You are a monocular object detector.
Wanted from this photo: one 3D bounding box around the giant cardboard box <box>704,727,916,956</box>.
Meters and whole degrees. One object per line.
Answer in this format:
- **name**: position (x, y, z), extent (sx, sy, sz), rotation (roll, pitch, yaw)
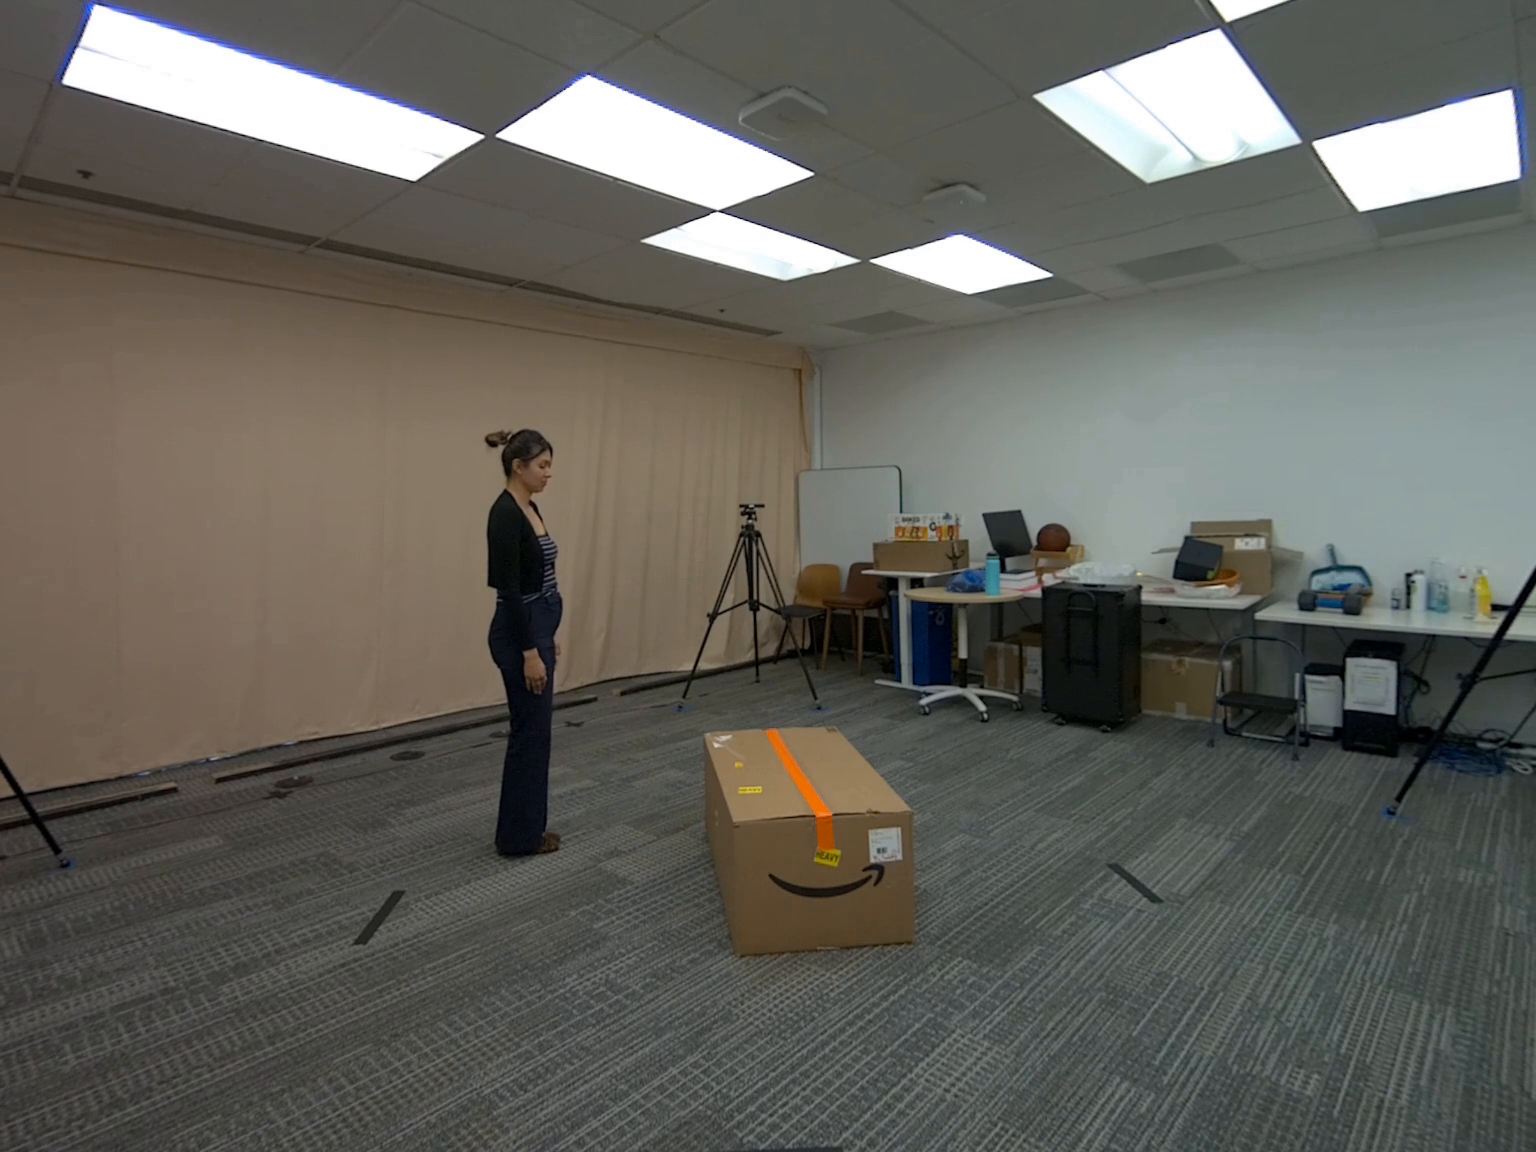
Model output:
- **giant cardboard box**: position (0.100, 0.908, 3.116), extent (0.573, 0.425, 1.037), rotation (-2, 5, -9)
